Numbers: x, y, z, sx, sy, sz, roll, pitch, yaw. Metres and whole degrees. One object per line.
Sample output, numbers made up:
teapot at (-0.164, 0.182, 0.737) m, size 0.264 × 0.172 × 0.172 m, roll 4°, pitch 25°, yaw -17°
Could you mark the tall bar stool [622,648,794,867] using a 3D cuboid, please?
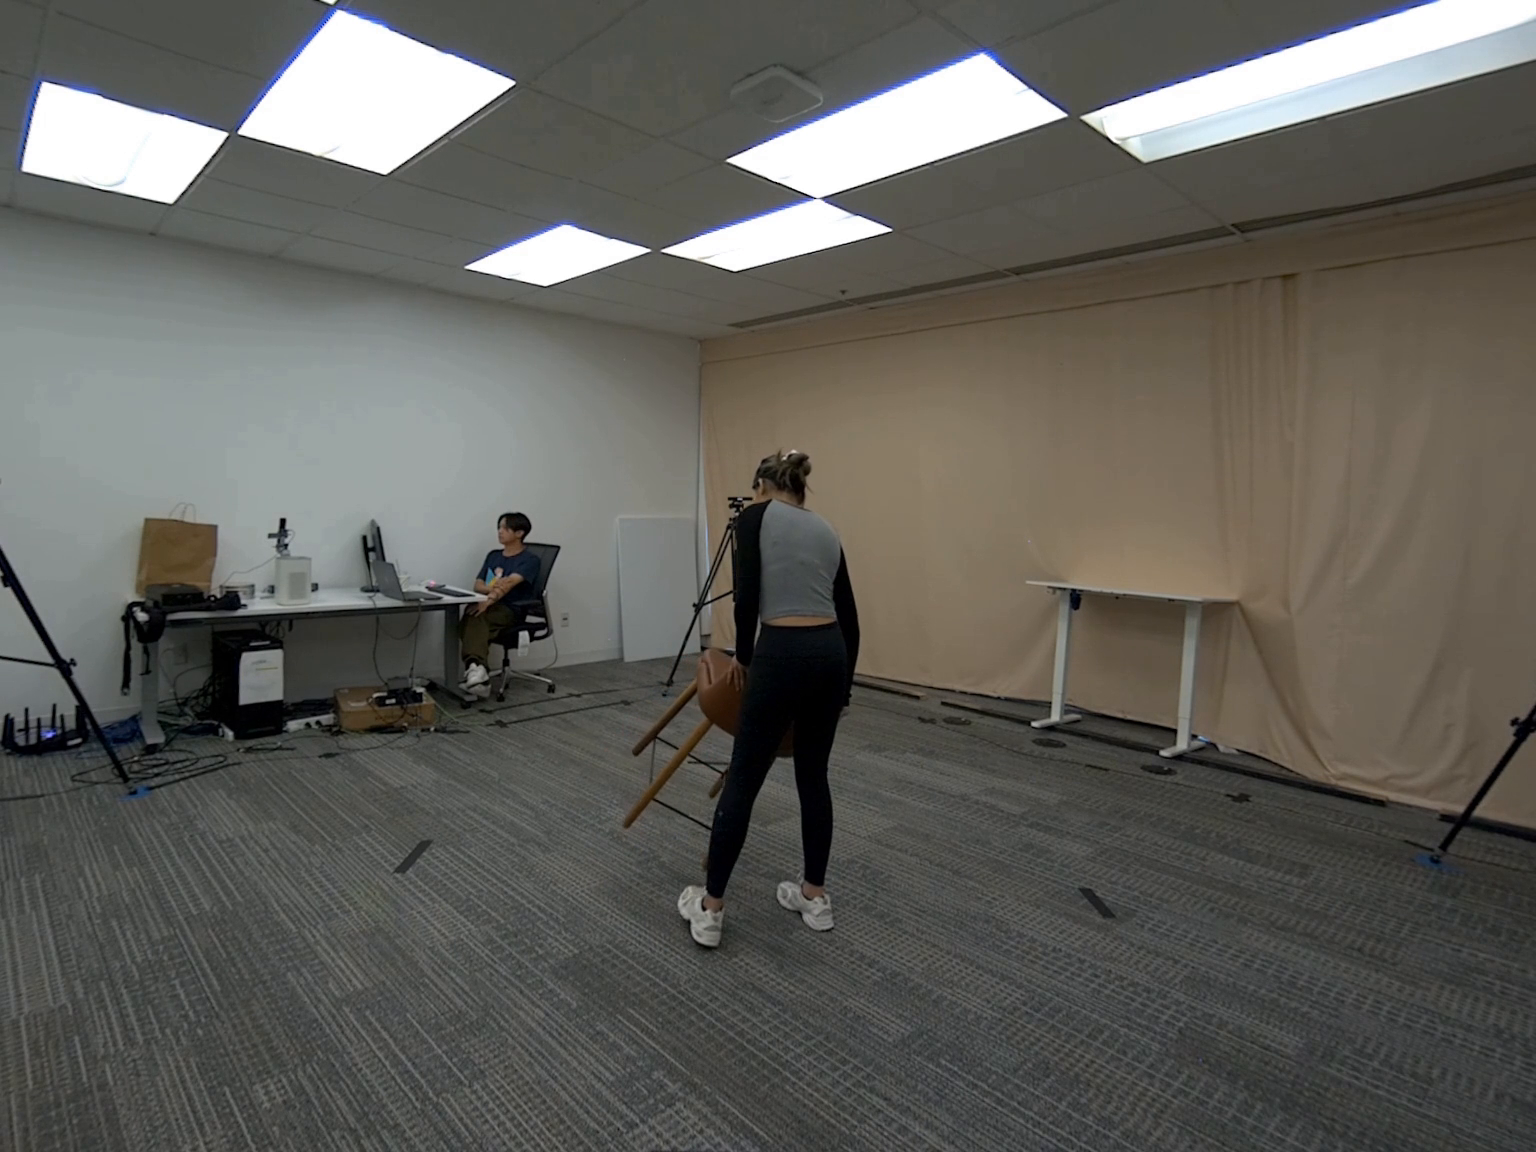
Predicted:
tall bar stool at (-0.158, 0.594, 3.177) m, size 0.451 × 0.887 × 0.475 m, roll 31°, pitch 21°, yaw -12°
